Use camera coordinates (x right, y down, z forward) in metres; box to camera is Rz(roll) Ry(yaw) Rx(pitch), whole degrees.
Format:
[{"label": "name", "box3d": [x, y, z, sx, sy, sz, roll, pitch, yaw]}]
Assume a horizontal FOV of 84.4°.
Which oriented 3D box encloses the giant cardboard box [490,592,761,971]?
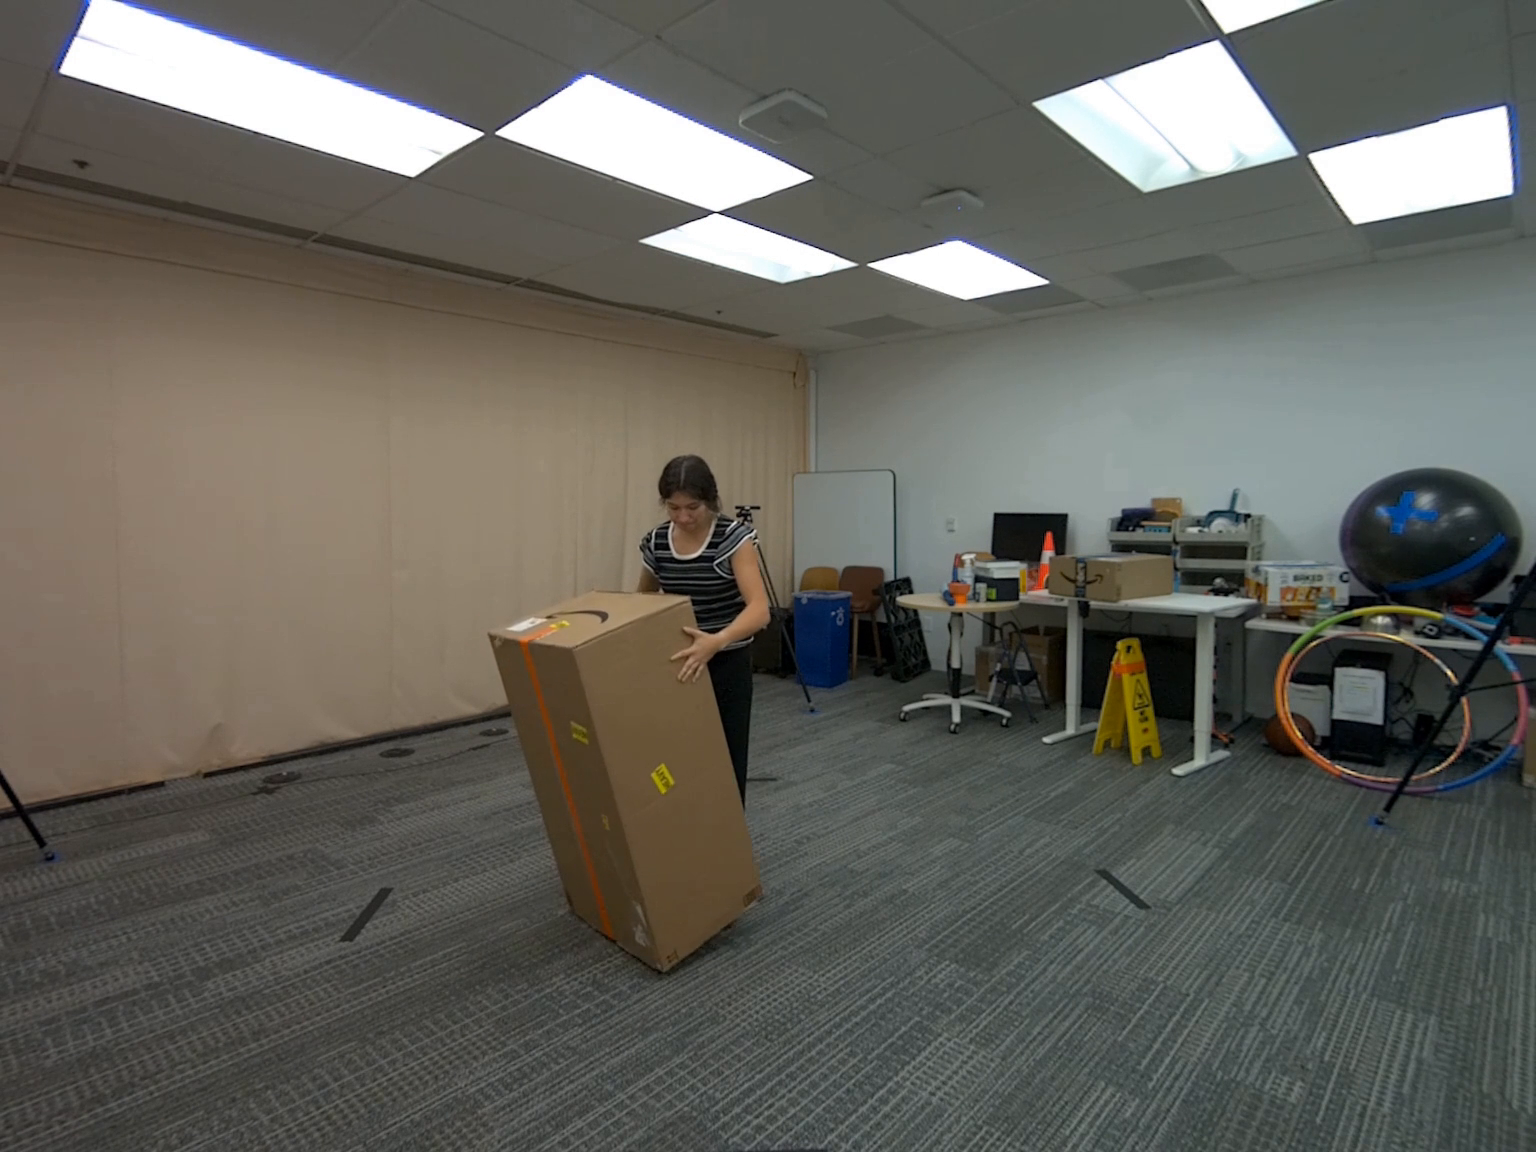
[{"label": "giant cardboard box", "box3d": [-0.466, 0.612, 2.710, 0.417, 1.016, 0.596, -22, 14, -38]}]
